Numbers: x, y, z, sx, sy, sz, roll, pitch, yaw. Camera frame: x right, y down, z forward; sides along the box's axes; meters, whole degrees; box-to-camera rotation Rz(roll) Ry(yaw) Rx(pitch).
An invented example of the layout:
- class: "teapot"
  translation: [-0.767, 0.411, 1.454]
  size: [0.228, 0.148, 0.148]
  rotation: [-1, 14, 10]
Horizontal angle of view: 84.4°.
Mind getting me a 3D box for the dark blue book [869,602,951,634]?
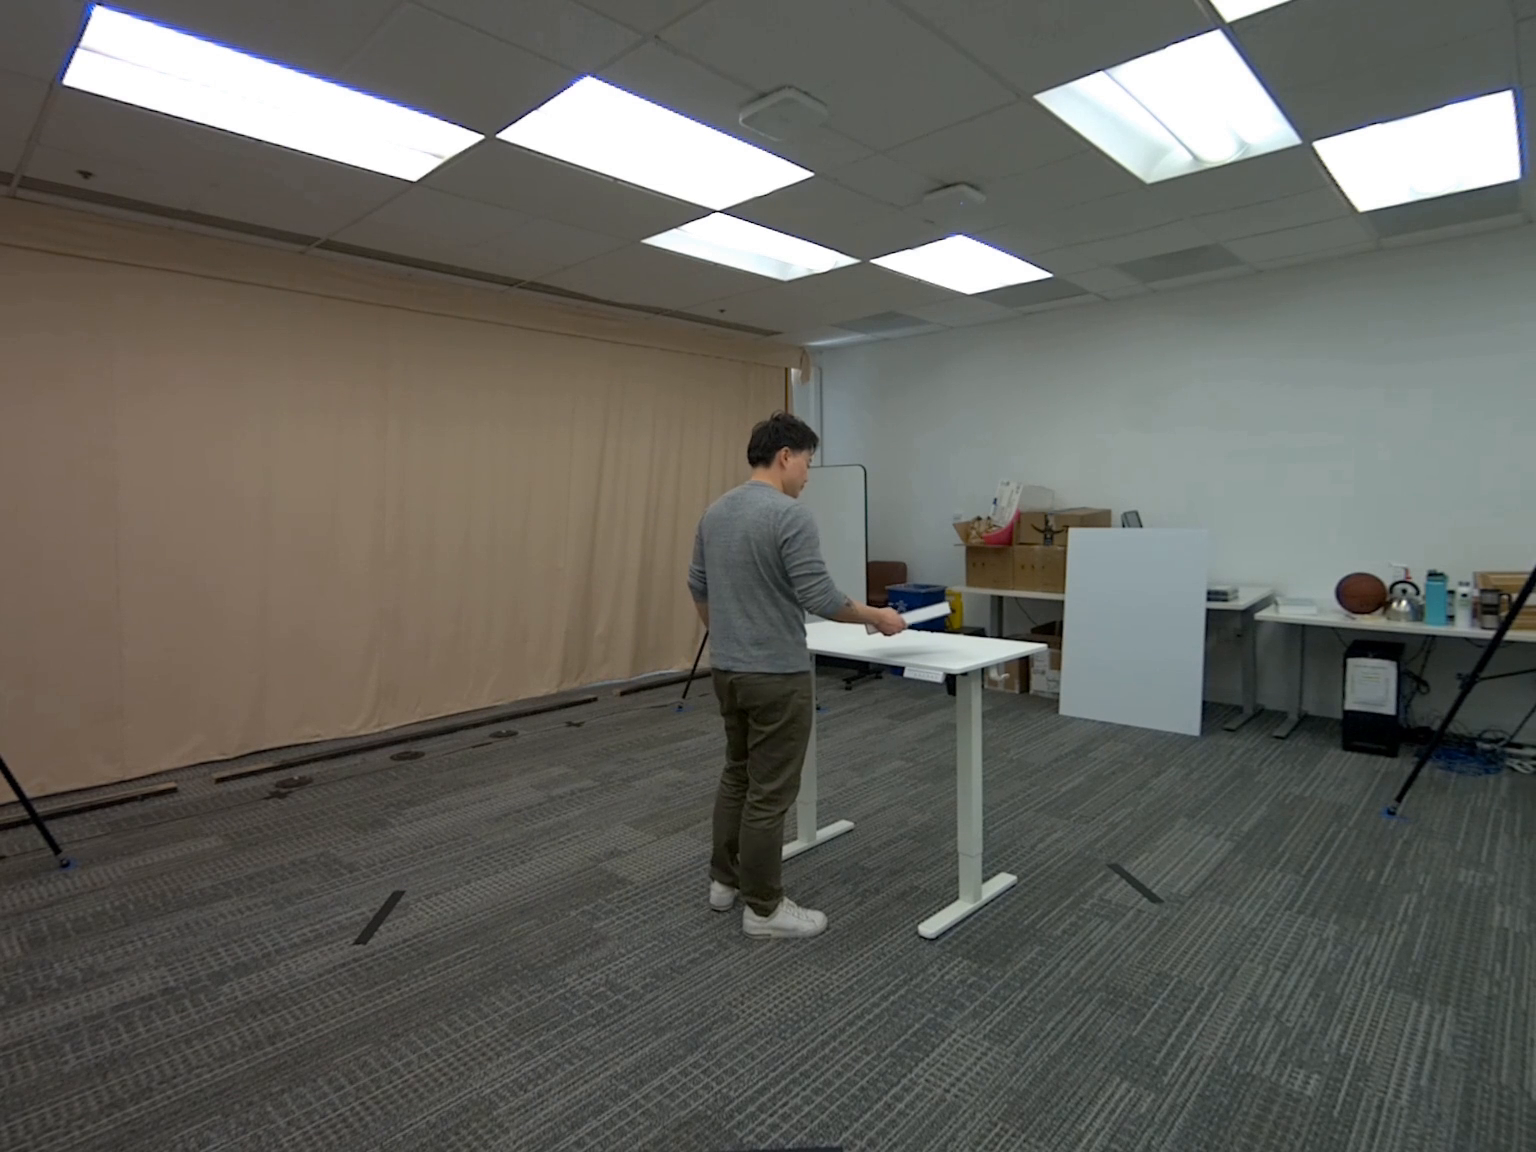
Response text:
- class: "dark blue book"
  translation: [0.467, 0.146, 2.793]
  size: [0.242, 0.045, 0.164]
  rotation: [-13, -6, -15]
